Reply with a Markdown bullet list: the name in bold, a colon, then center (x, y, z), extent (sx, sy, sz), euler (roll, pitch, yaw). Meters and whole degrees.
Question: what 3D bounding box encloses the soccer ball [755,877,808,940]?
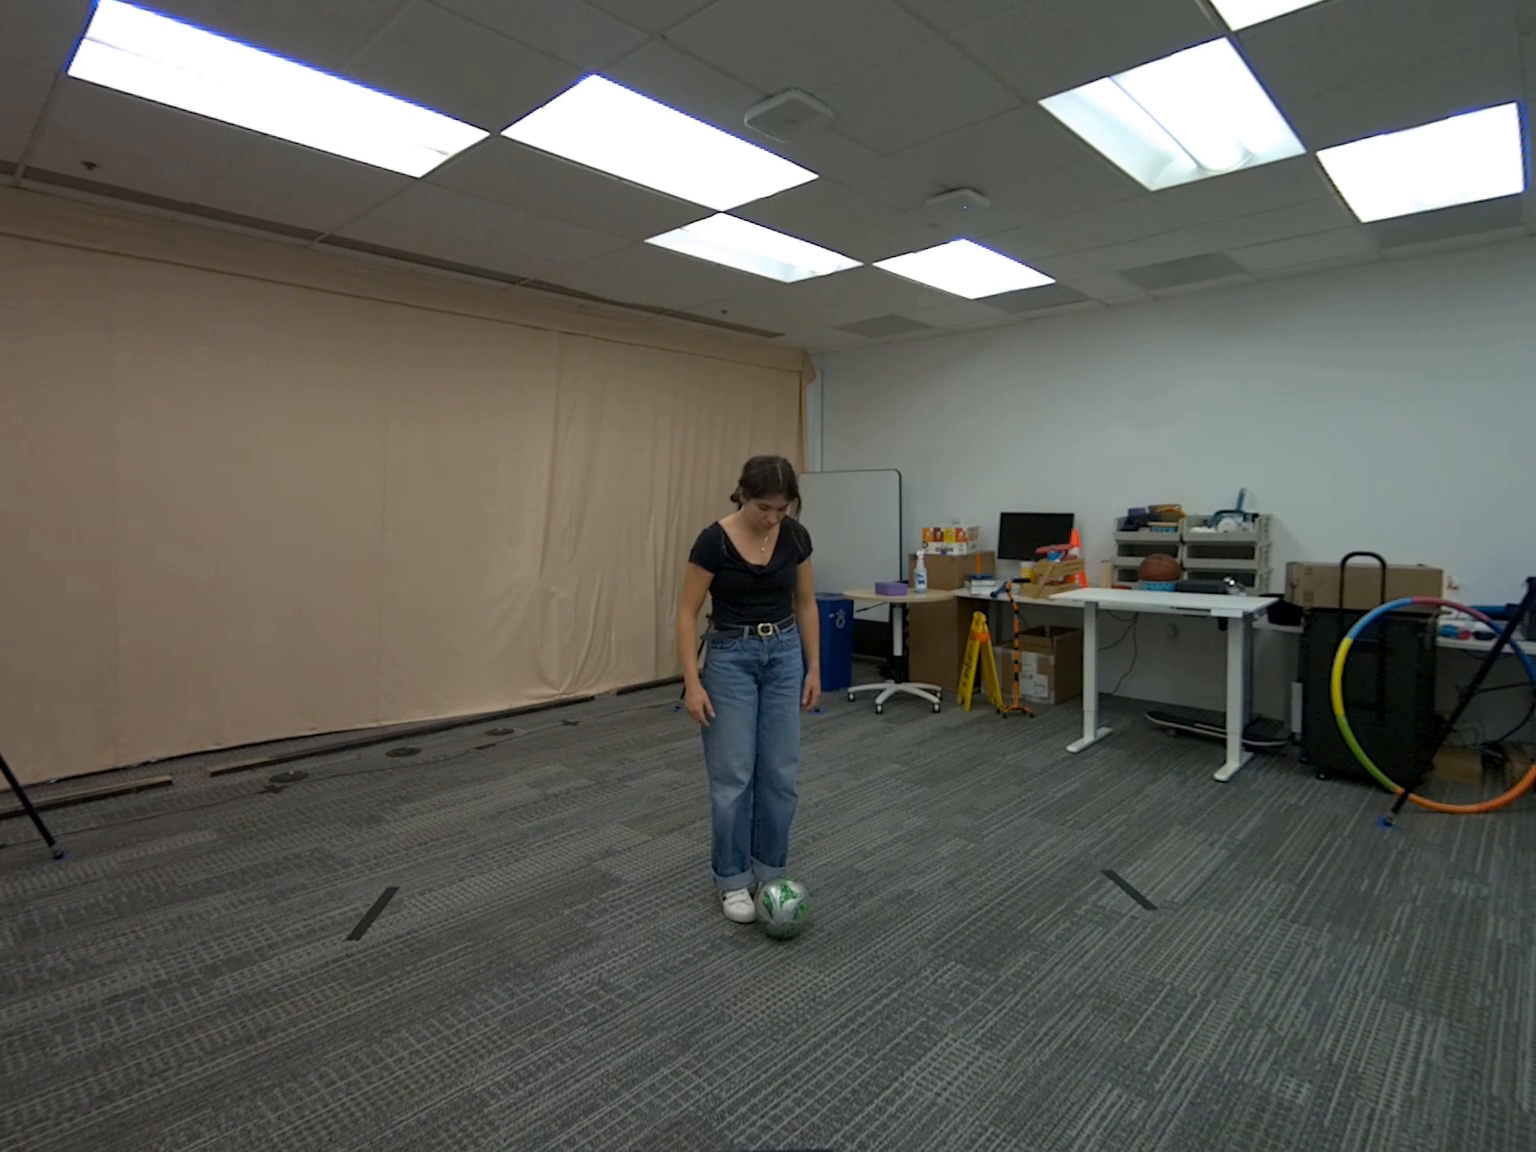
- **soccer ball**: center (0.045, 1.067, 2.736), extent (0.187, 0.187, 0.188), euler (0, 4, -2)
